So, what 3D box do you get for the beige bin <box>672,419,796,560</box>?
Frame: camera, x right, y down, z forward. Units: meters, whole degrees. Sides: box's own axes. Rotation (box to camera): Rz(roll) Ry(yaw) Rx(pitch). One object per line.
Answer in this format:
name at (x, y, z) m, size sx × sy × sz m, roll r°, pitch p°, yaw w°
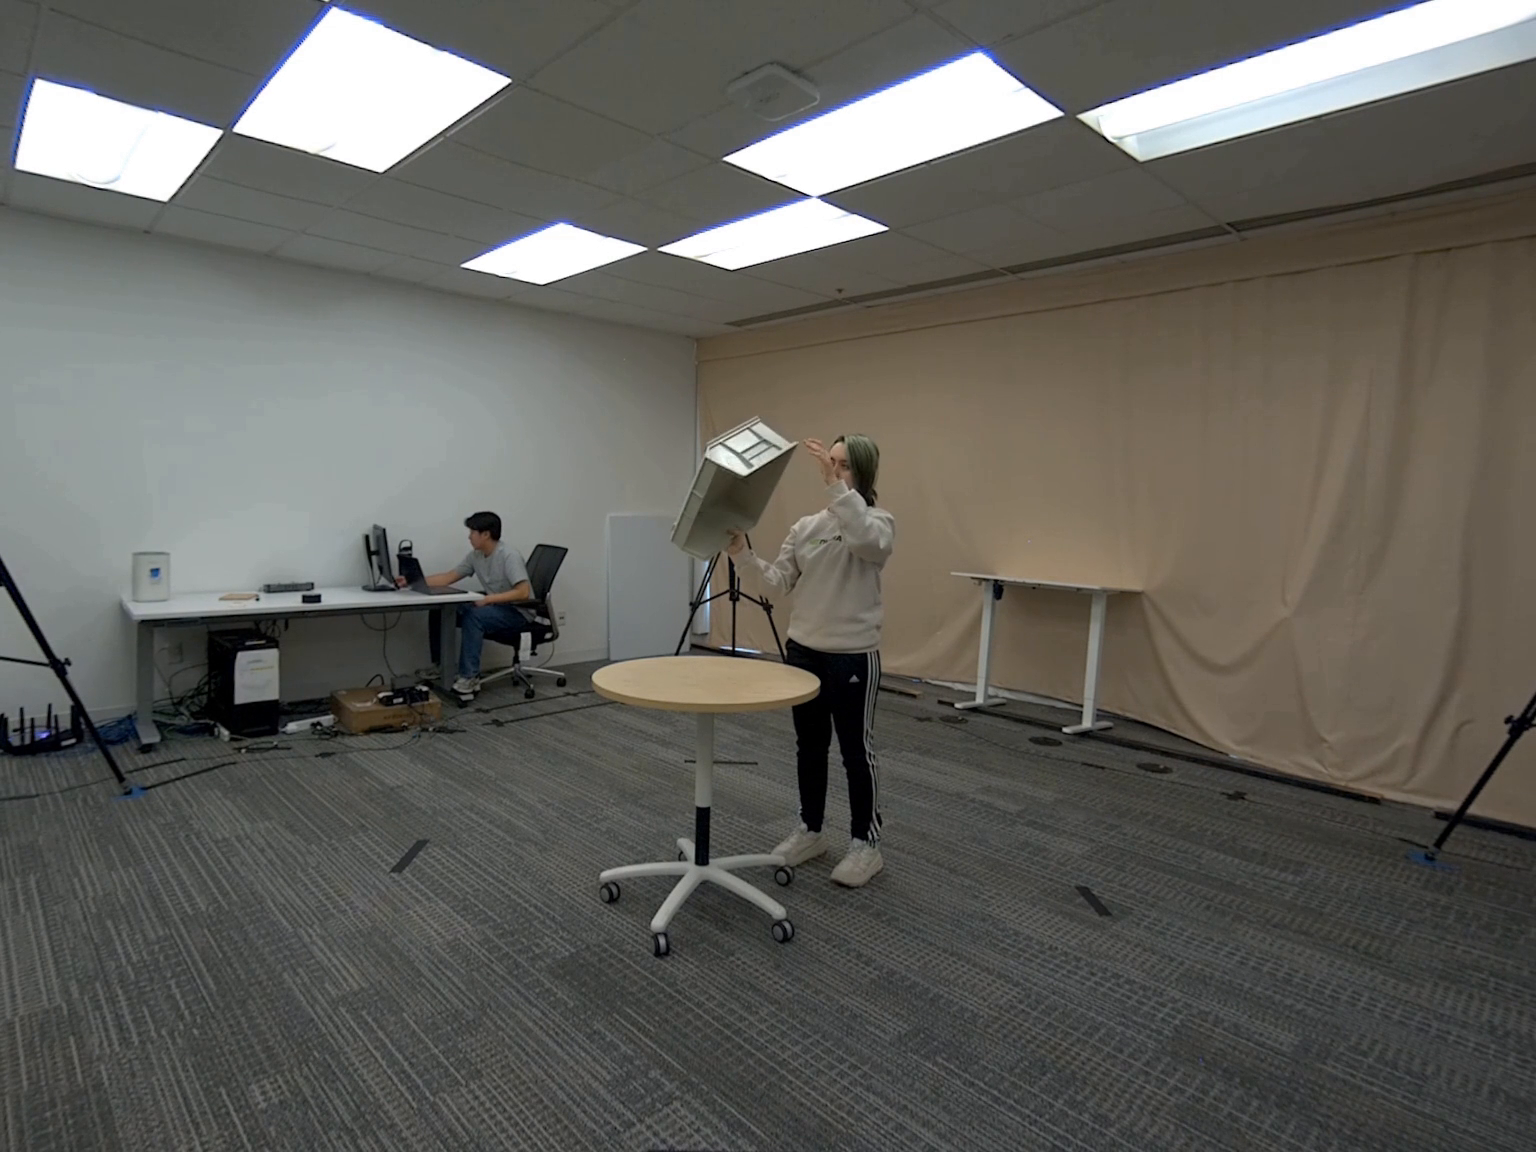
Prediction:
beige bin at (-0.140, -0.299, 2.979) m, size 0.191 × 0.418 × 0.375 m, roll 38°, pitch 42°, yaw 11°
